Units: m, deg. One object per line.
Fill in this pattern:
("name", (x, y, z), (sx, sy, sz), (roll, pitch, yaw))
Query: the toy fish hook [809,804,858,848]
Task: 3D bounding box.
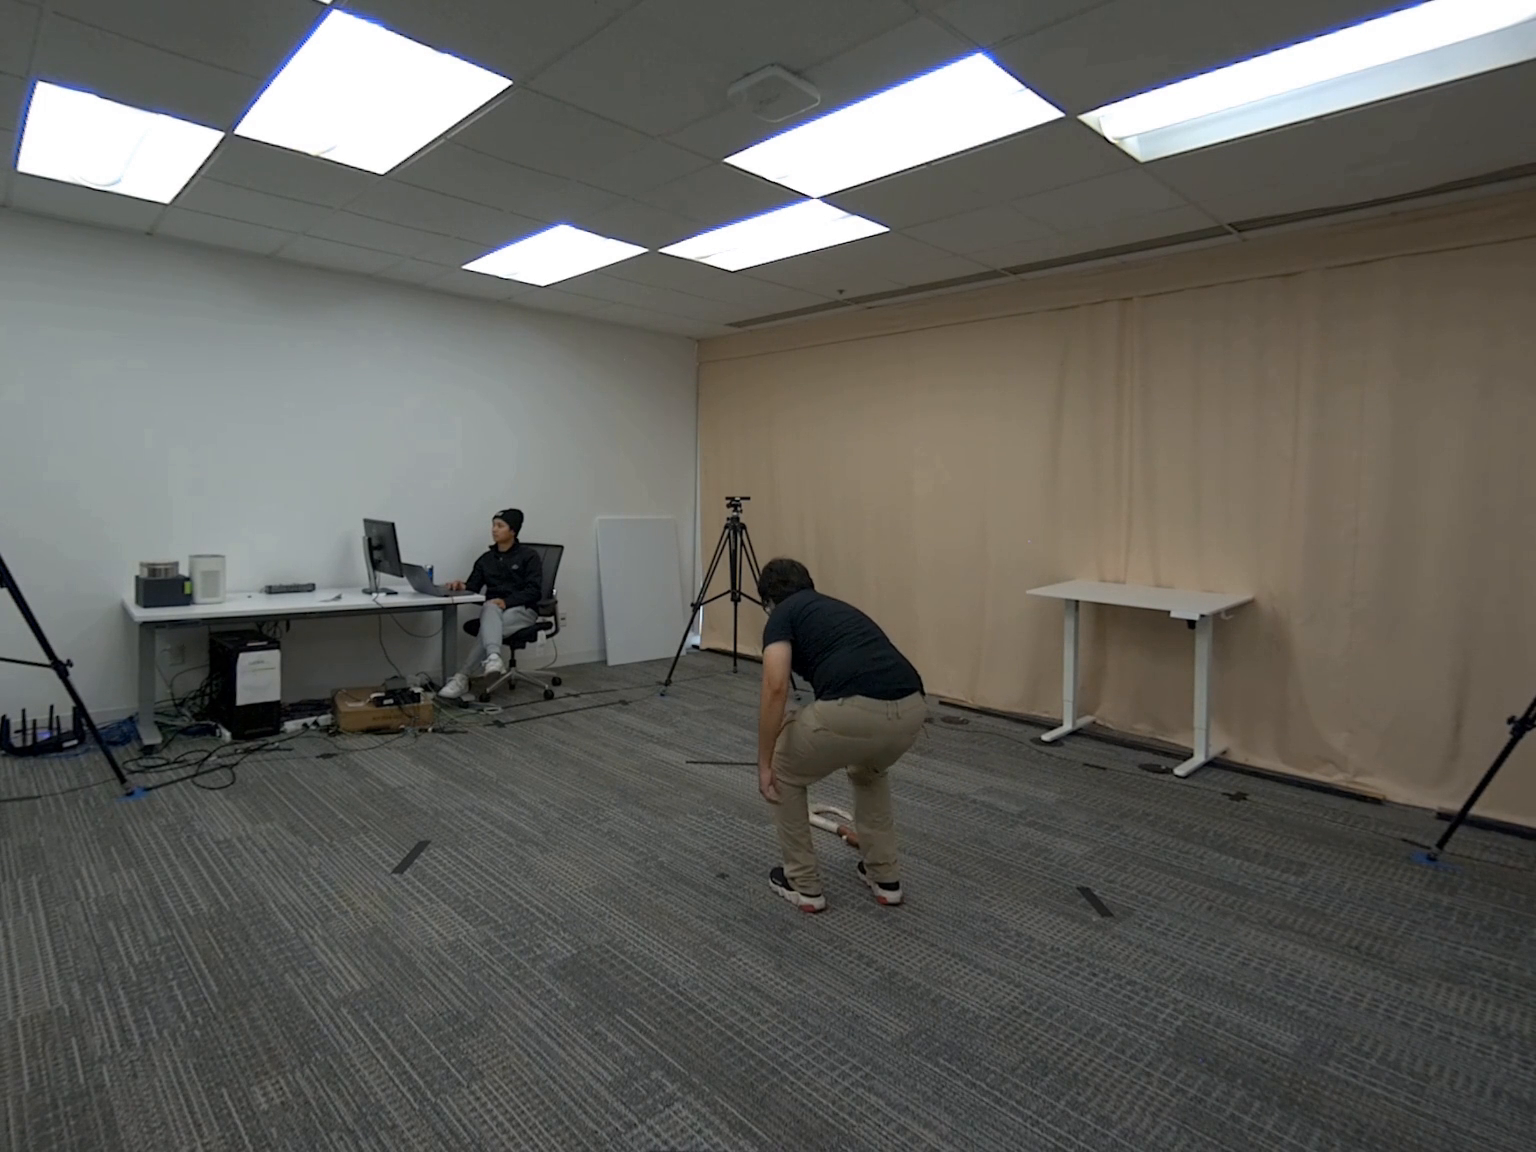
("toy fish hook", (0.308, 1.059, 3.582), (0.220, 0.048, 0.518), (-1, 6, -28))
